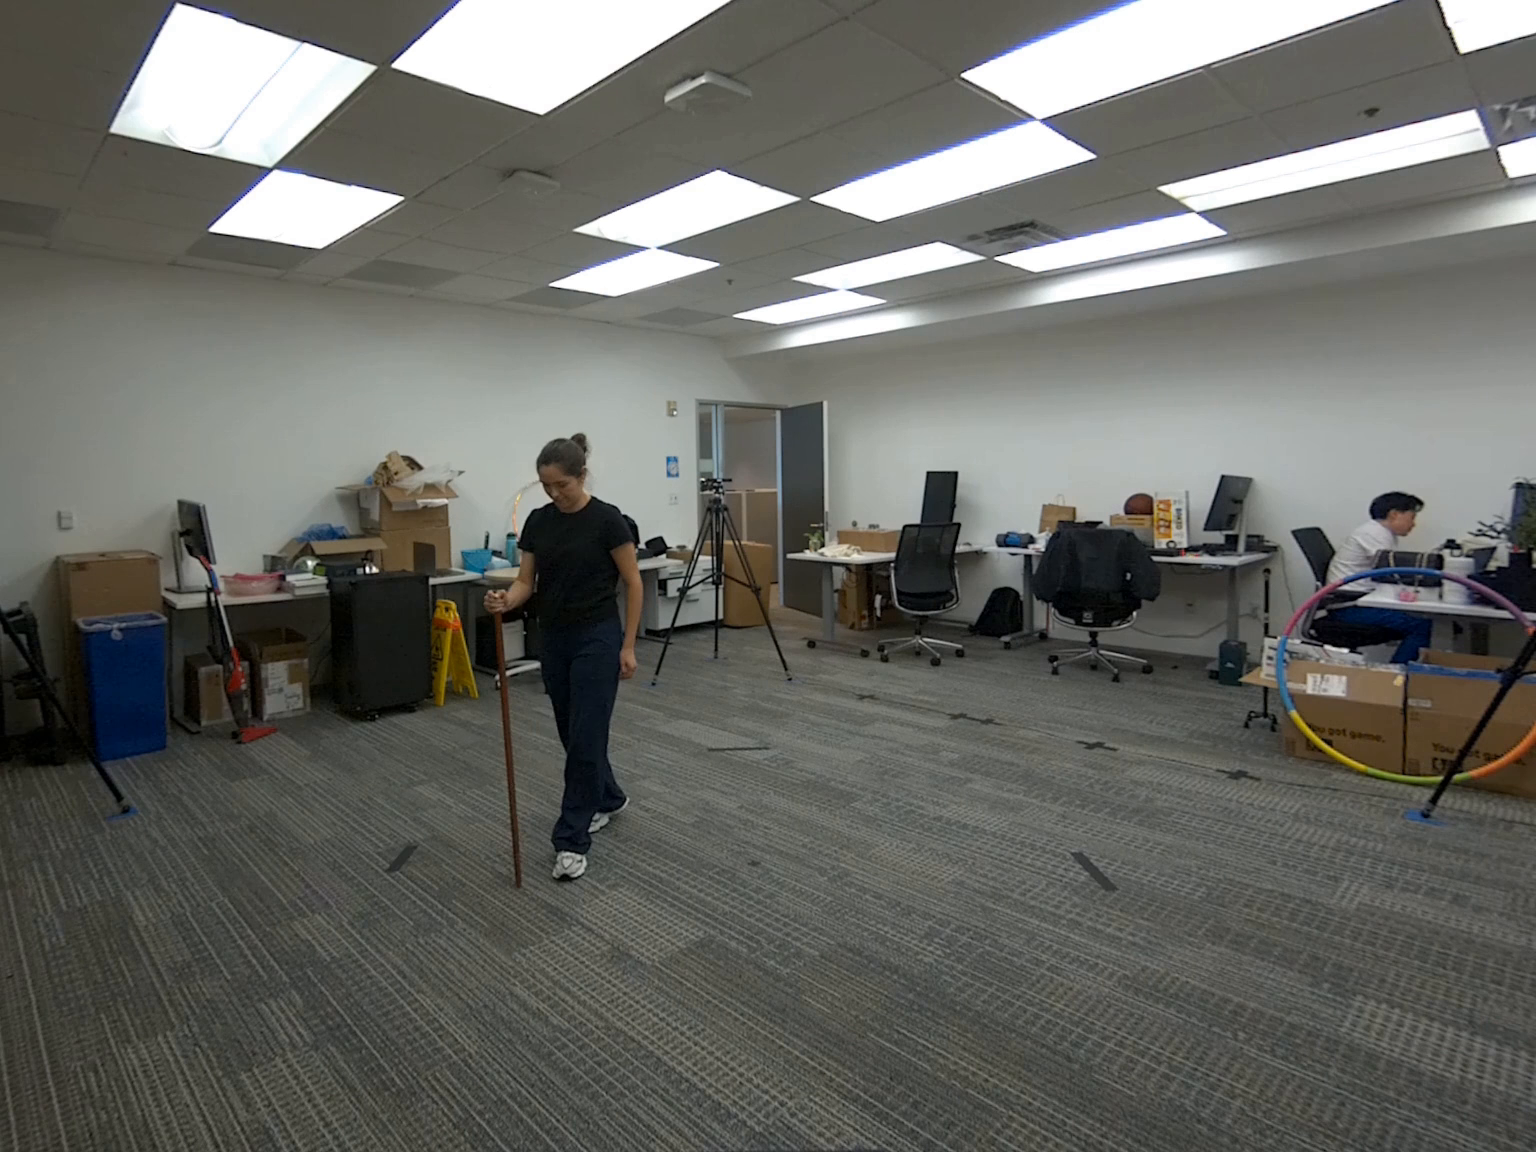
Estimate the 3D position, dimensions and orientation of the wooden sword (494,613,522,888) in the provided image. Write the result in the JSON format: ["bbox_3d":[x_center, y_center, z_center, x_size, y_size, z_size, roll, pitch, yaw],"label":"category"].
[{"bbox_3d":[-0.902,0.583,2.988,0.024,1.027,0.050,-5,-3,30],"label":"wooden sword"}]
